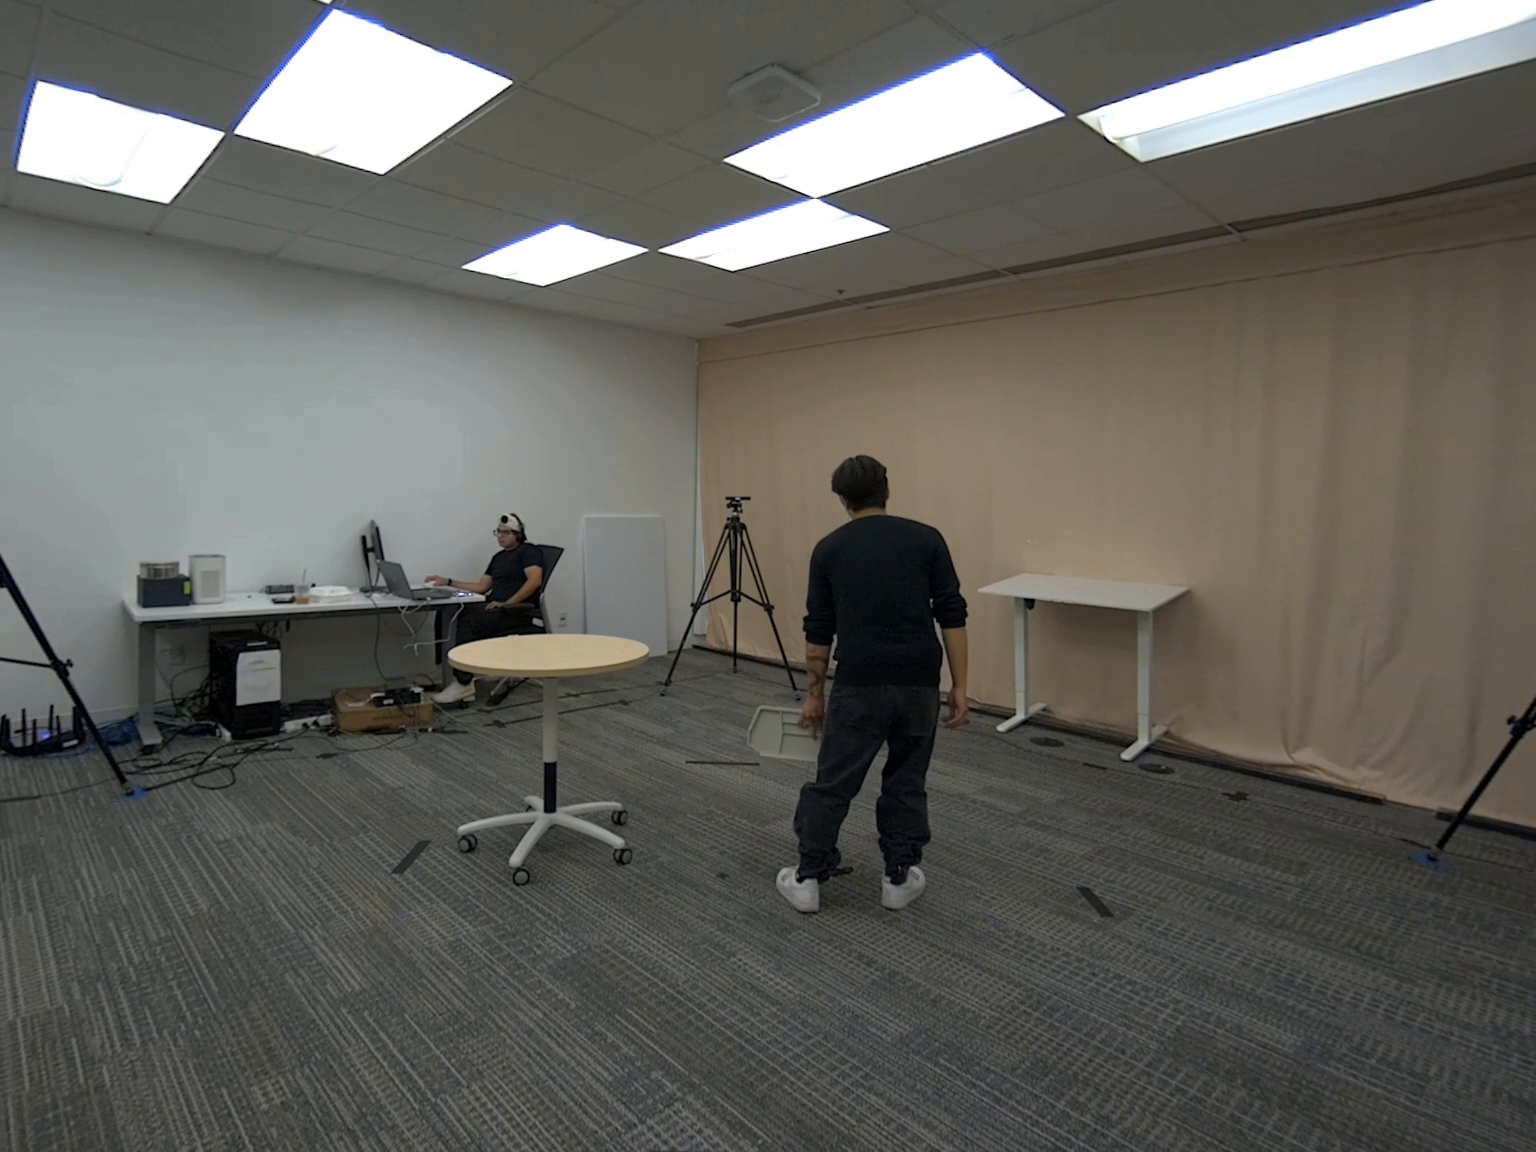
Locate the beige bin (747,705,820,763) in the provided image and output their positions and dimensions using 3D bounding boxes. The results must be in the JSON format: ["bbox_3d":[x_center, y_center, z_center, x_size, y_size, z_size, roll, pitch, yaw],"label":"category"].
[{"bbox_3d":[0.117,0.606,3.243,0.380,0.190,0.417,5,-8,8],"label":"beige bin"}]
